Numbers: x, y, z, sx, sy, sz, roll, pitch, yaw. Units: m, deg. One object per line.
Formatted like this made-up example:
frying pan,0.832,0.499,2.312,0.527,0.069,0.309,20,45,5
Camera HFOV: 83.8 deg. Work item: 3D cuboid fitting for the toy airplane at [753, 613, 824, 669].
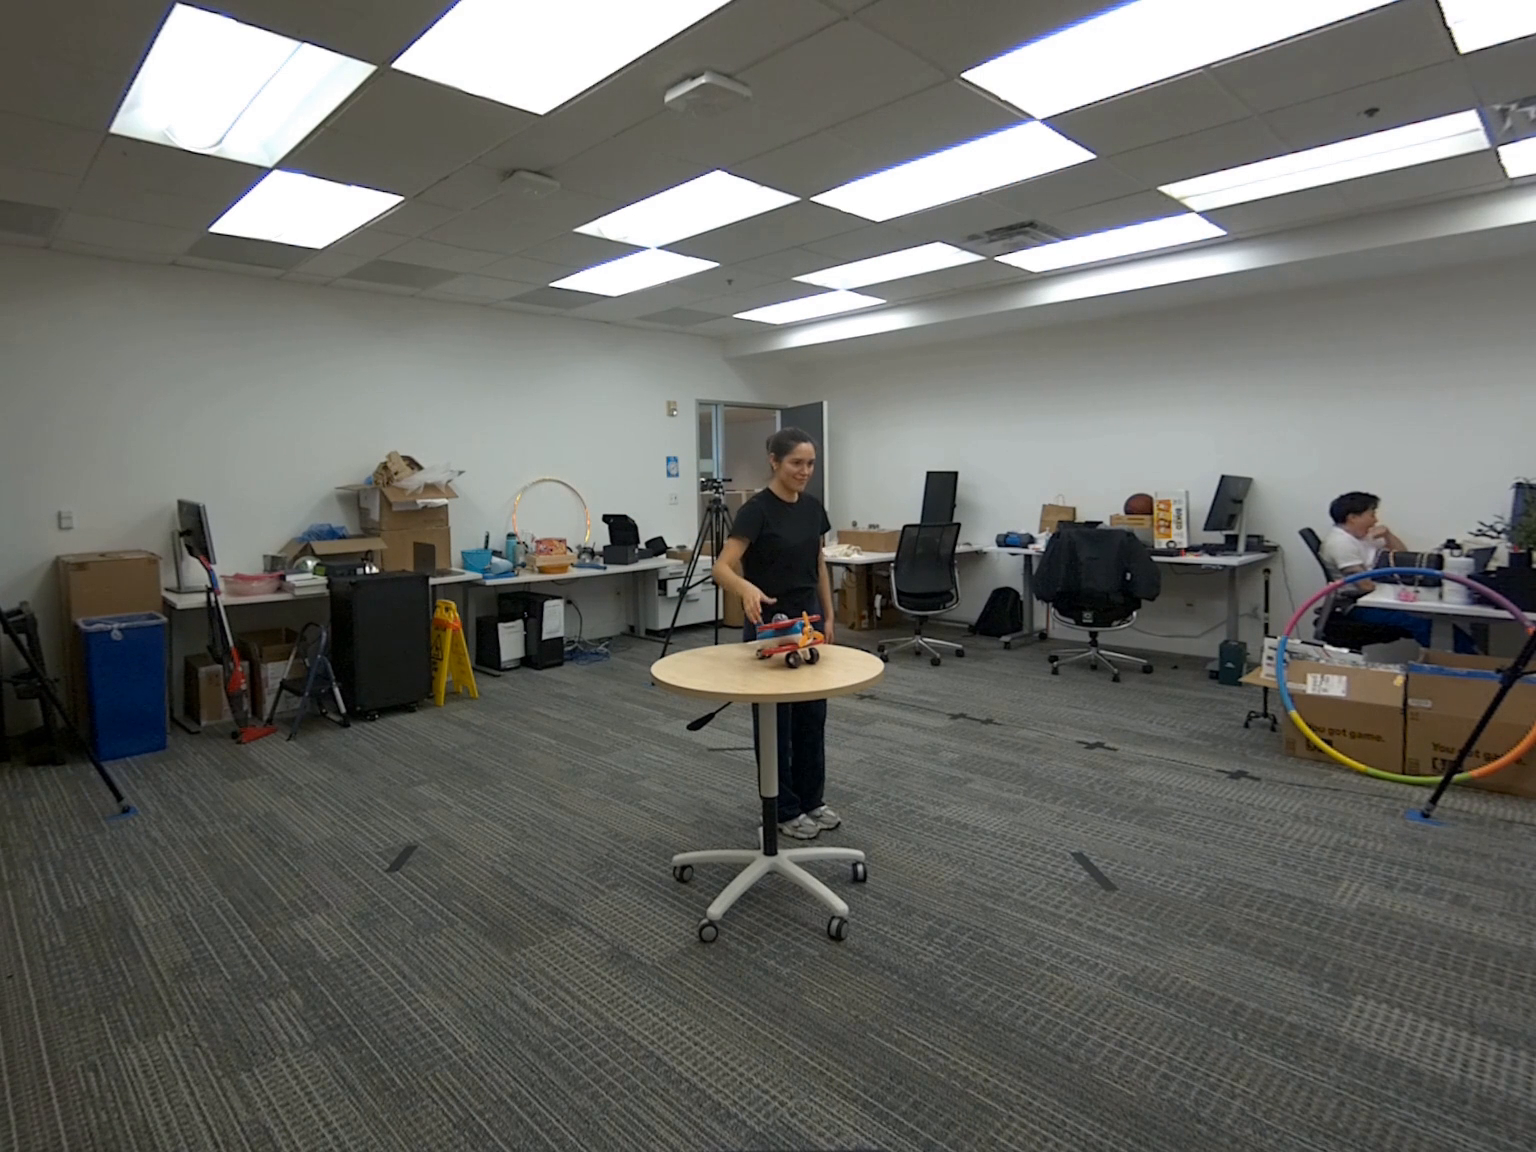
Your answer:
toy airplane,0.038,0.216,2.853,0.264,0.156,0.247,2,6,19
